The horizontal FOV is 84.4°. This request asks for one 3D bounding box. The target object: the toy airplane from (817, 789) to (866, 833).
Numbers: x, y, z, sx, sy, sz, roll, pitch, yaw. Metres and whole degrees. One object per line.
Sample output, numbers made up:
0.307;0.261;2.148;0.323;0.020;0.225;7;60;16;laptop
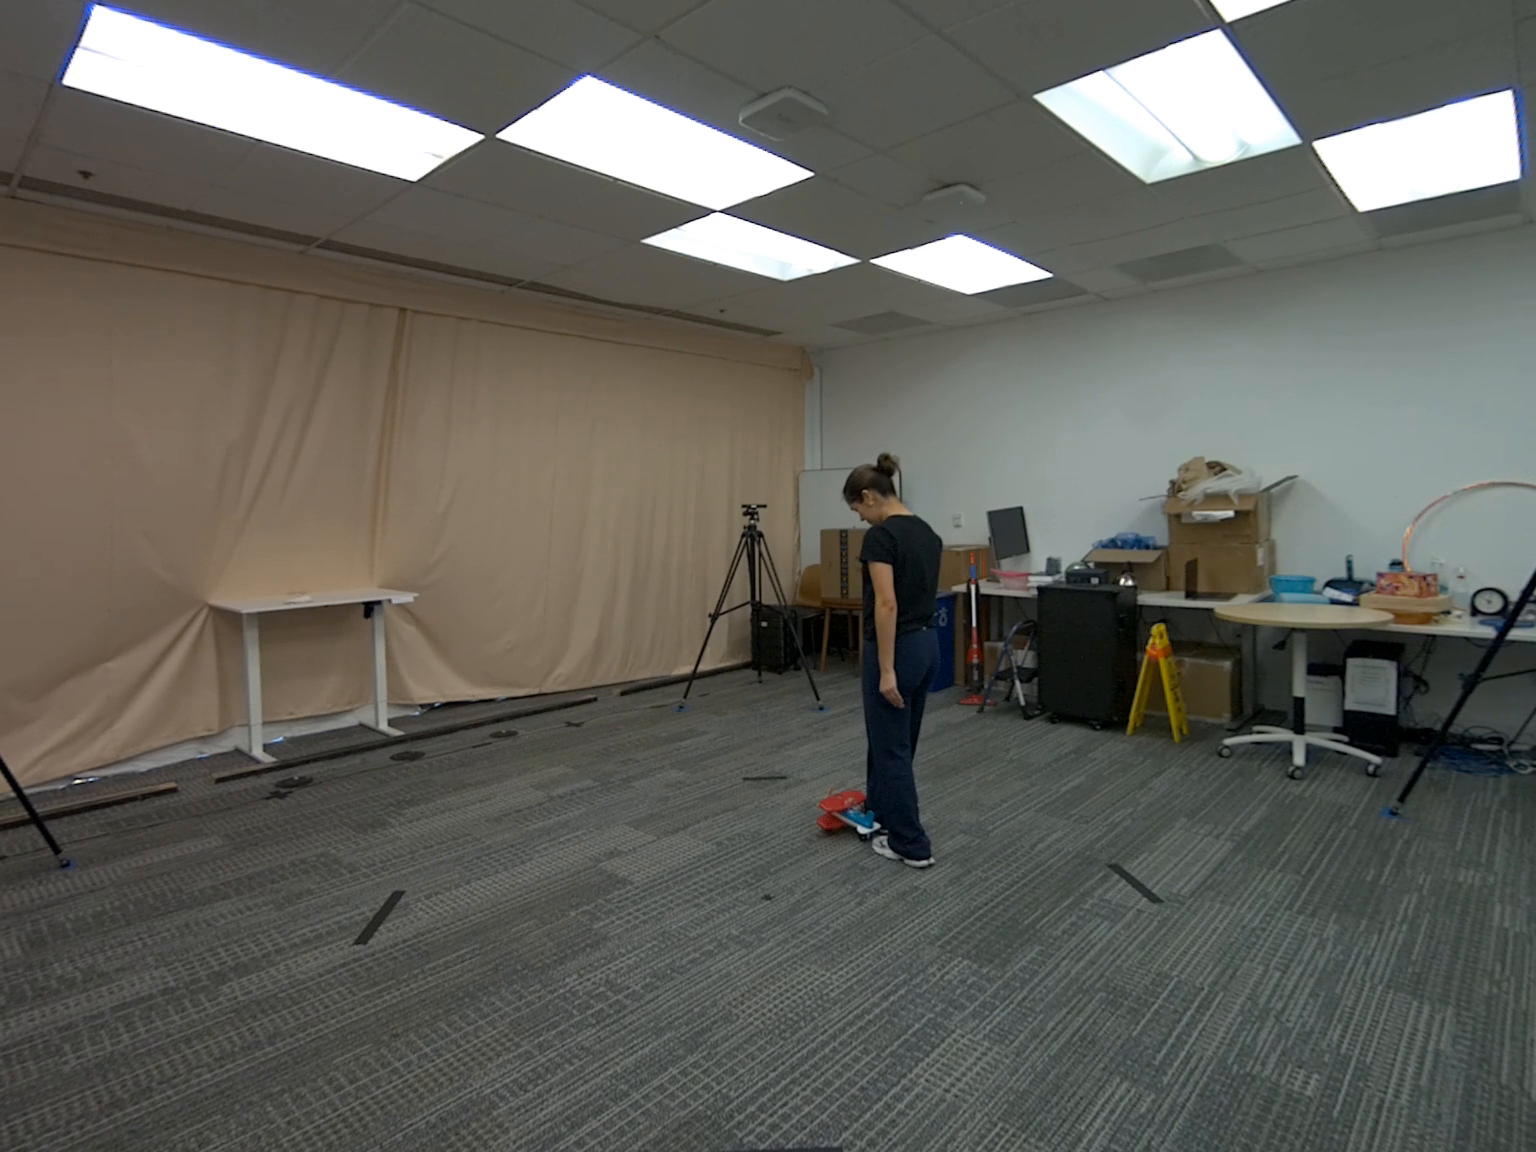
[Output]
0.360;1.012;3.557;0.264;0.156;0.246;-1;4;19;toy airplane
